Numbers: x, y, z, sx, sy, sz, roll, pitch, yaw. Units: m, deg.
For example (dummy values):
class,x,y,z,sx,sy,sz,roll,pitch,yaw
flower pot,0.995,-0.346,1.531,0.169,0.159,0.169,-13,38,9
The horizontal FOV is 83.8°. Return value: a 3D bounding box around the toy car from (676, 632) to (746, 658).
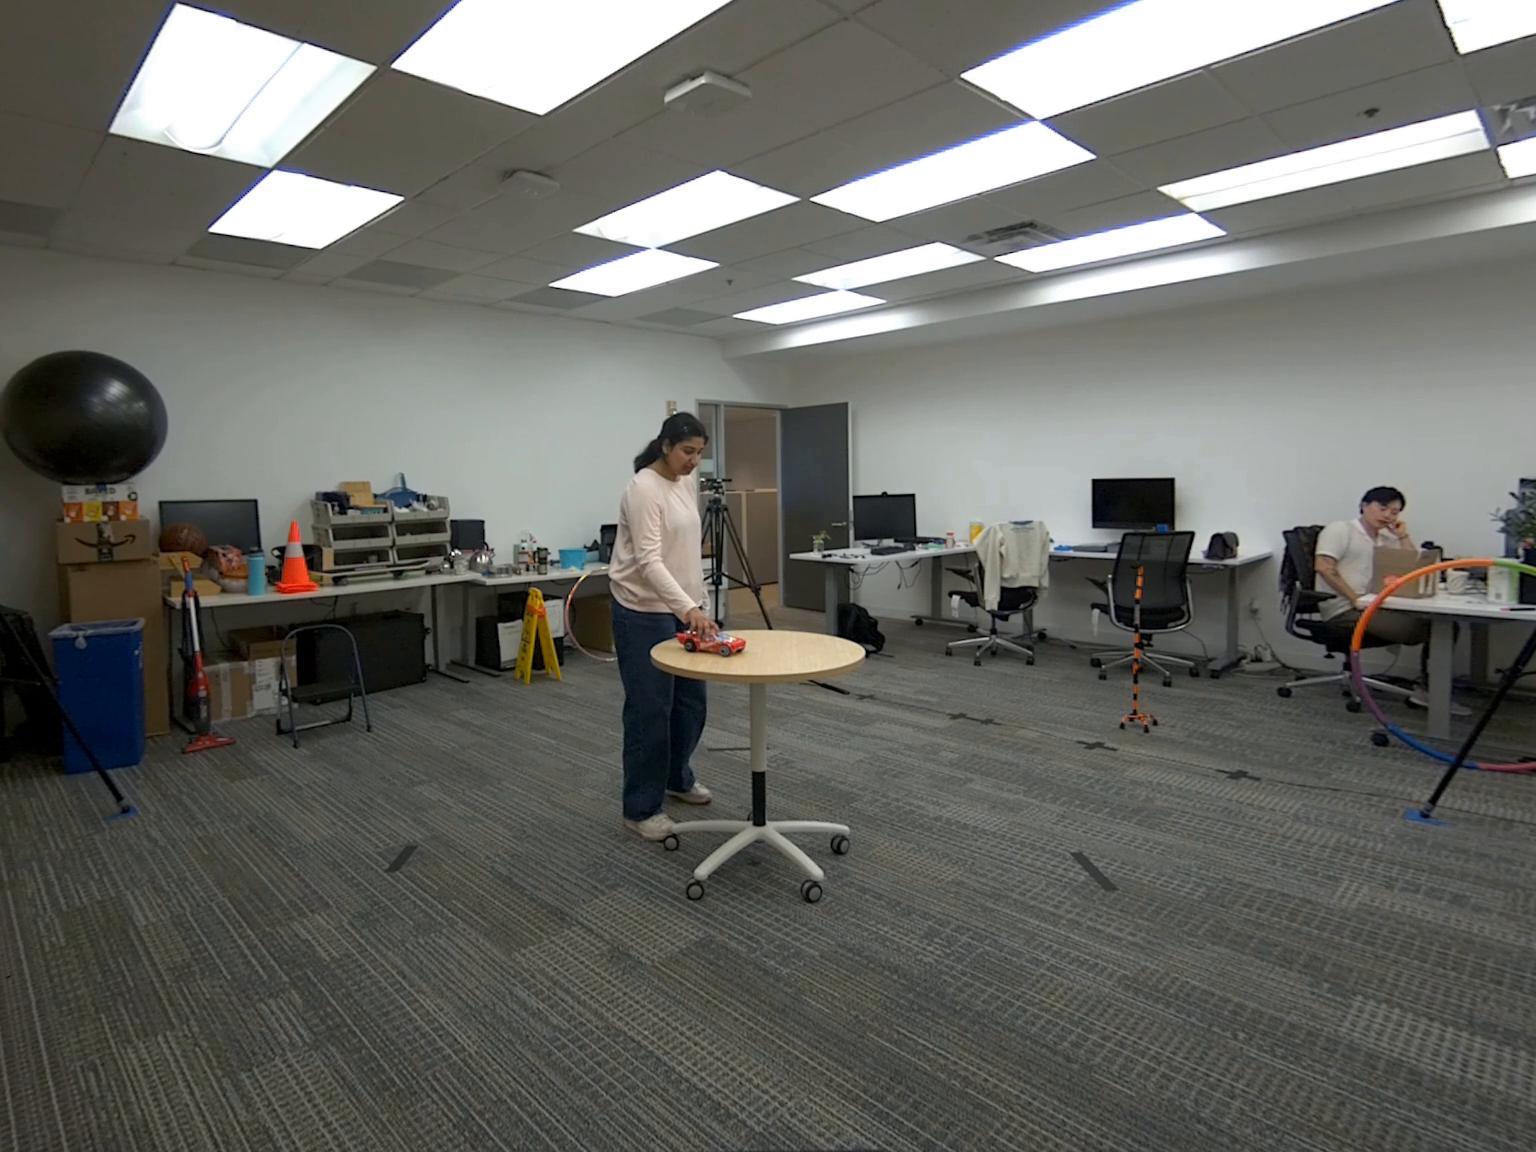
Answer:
class,x,y,z,sx,sy,sz,roll,pitch,yaw
toy car,-0.203,0.238,3.047,0.262,0.082,0.127,15,13,28
